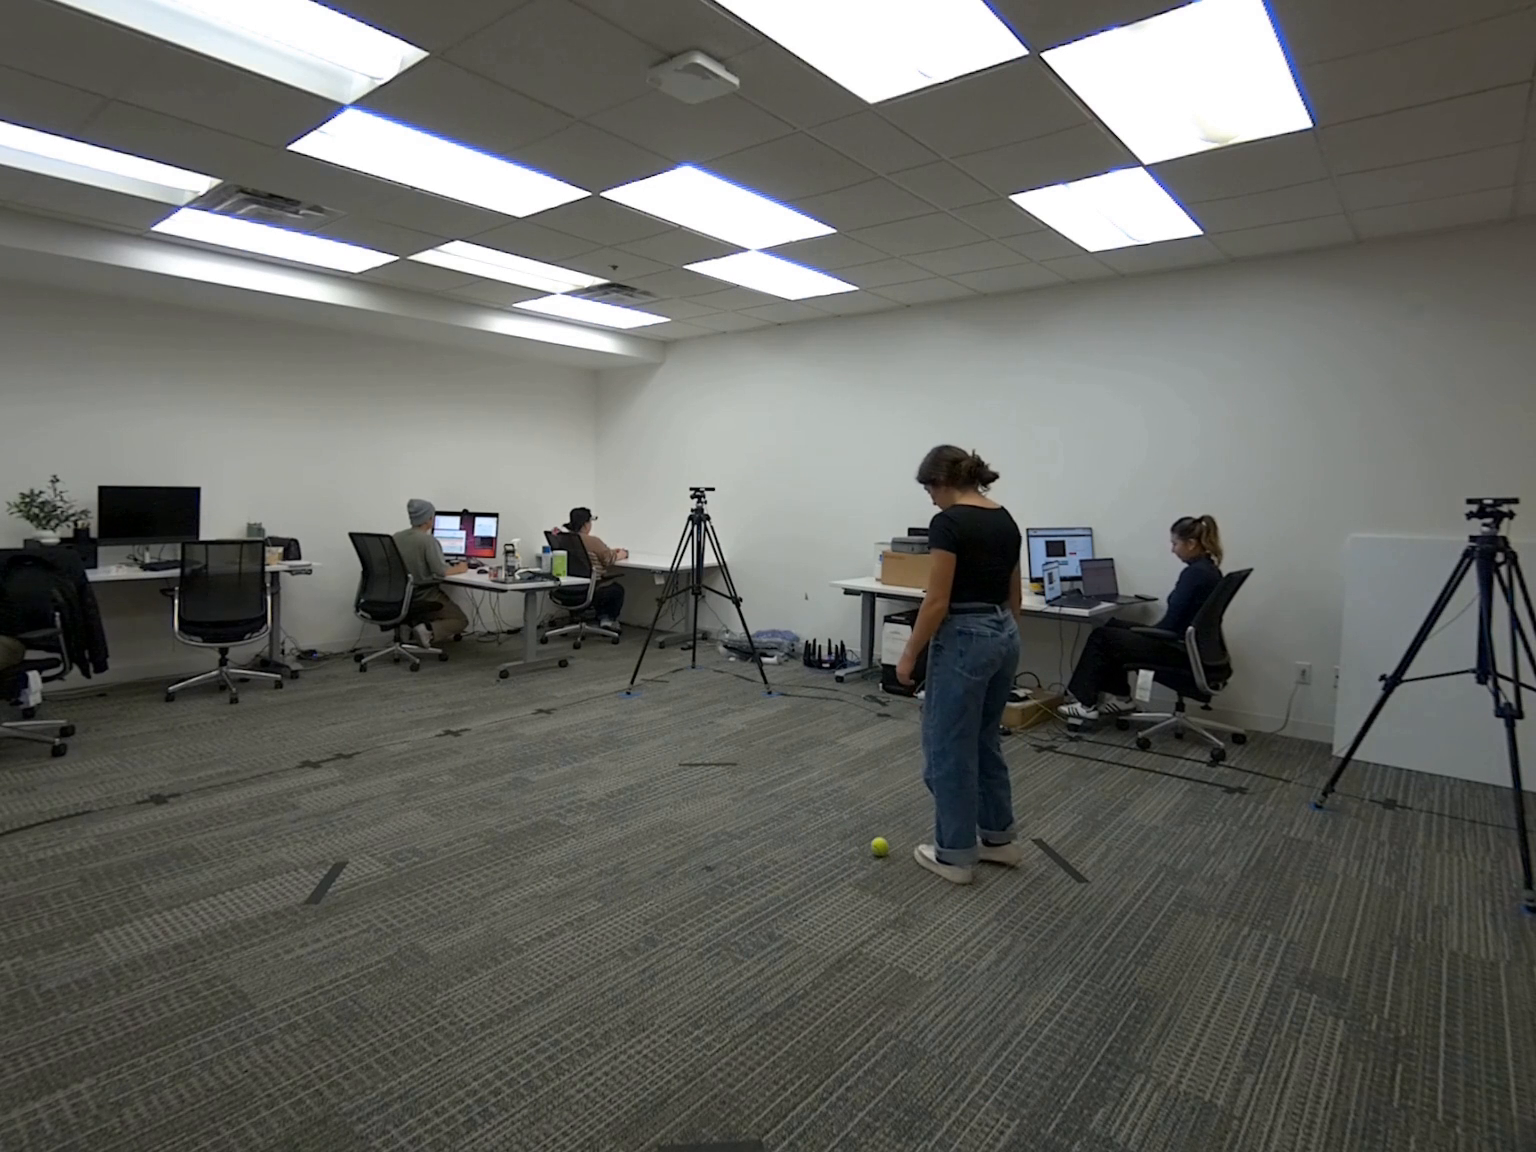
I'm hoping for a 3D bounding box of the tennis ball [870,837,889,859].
[{"bbox_3d":[0.419,1.015,3.256,0.066,0.066,0.067,1,4,-2],"label":"tennis ball"}]
